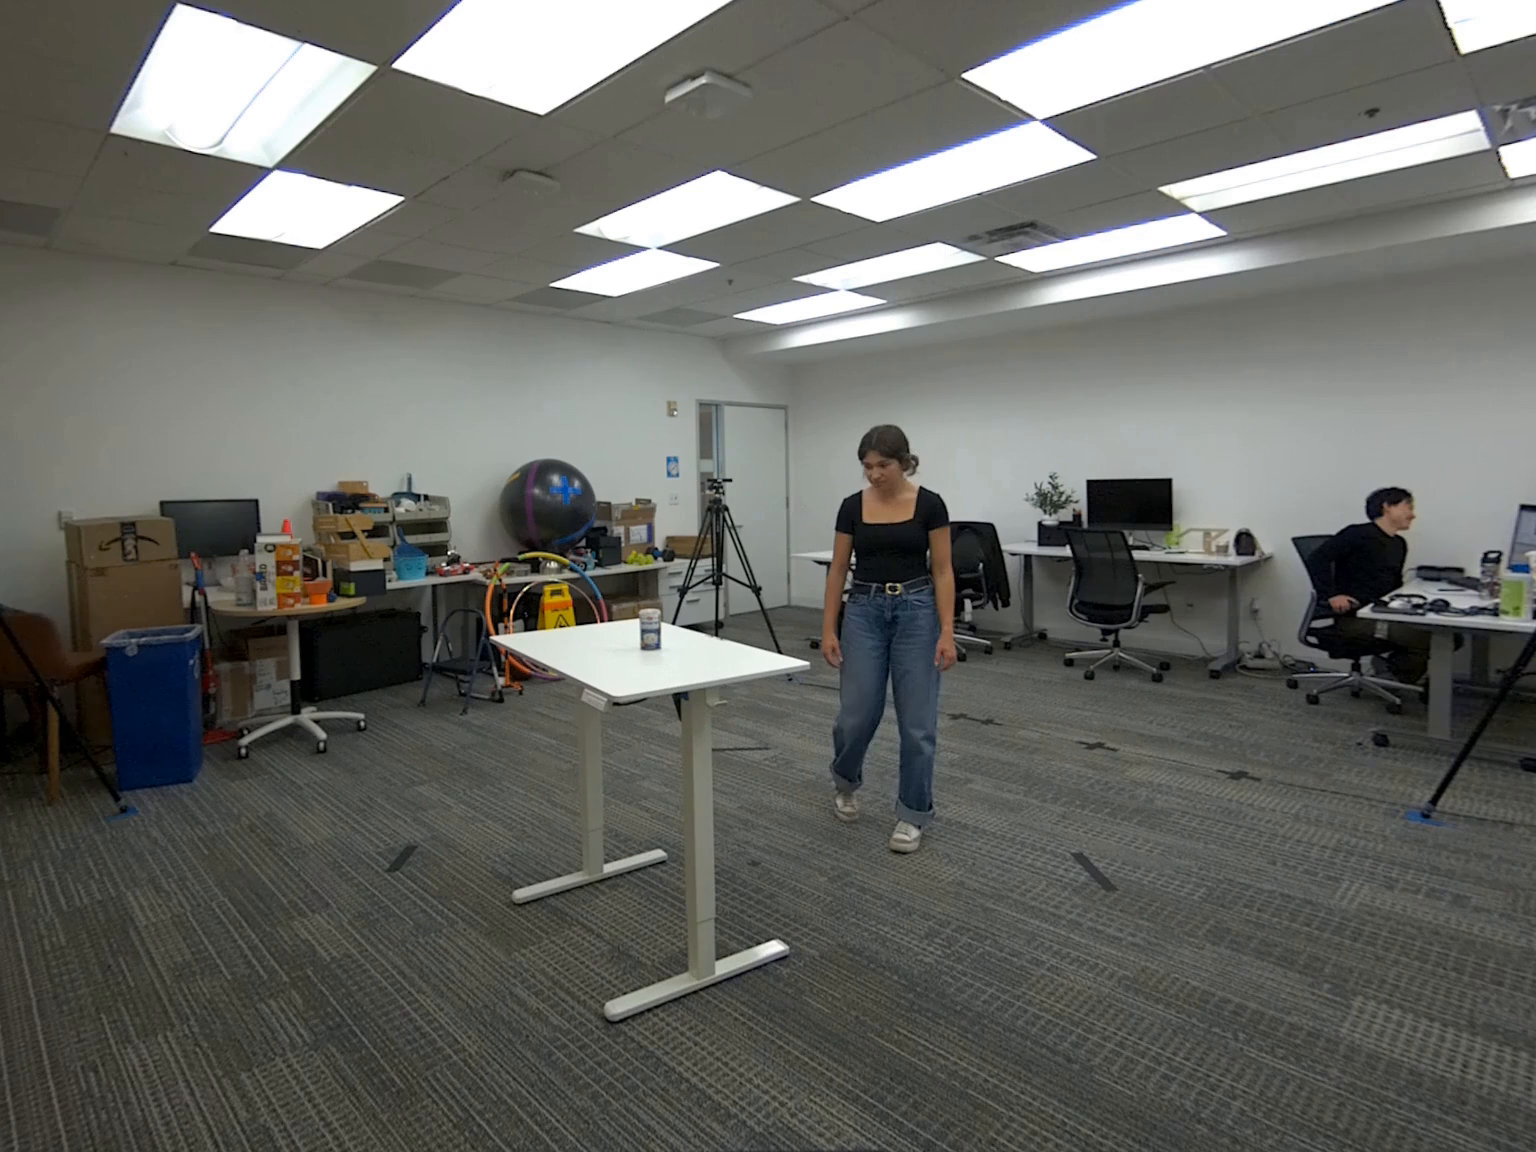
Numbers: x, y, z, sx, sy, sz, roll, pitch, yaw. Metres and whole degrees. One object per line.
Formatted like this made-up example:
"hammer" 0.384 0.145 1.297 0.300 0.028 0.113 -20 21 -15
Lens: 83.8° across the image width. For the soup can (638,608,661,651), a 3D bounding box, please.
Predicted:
"soup can" -0.362 0.168 2.625 0.067 0.121 0.067 -1 3 -2
